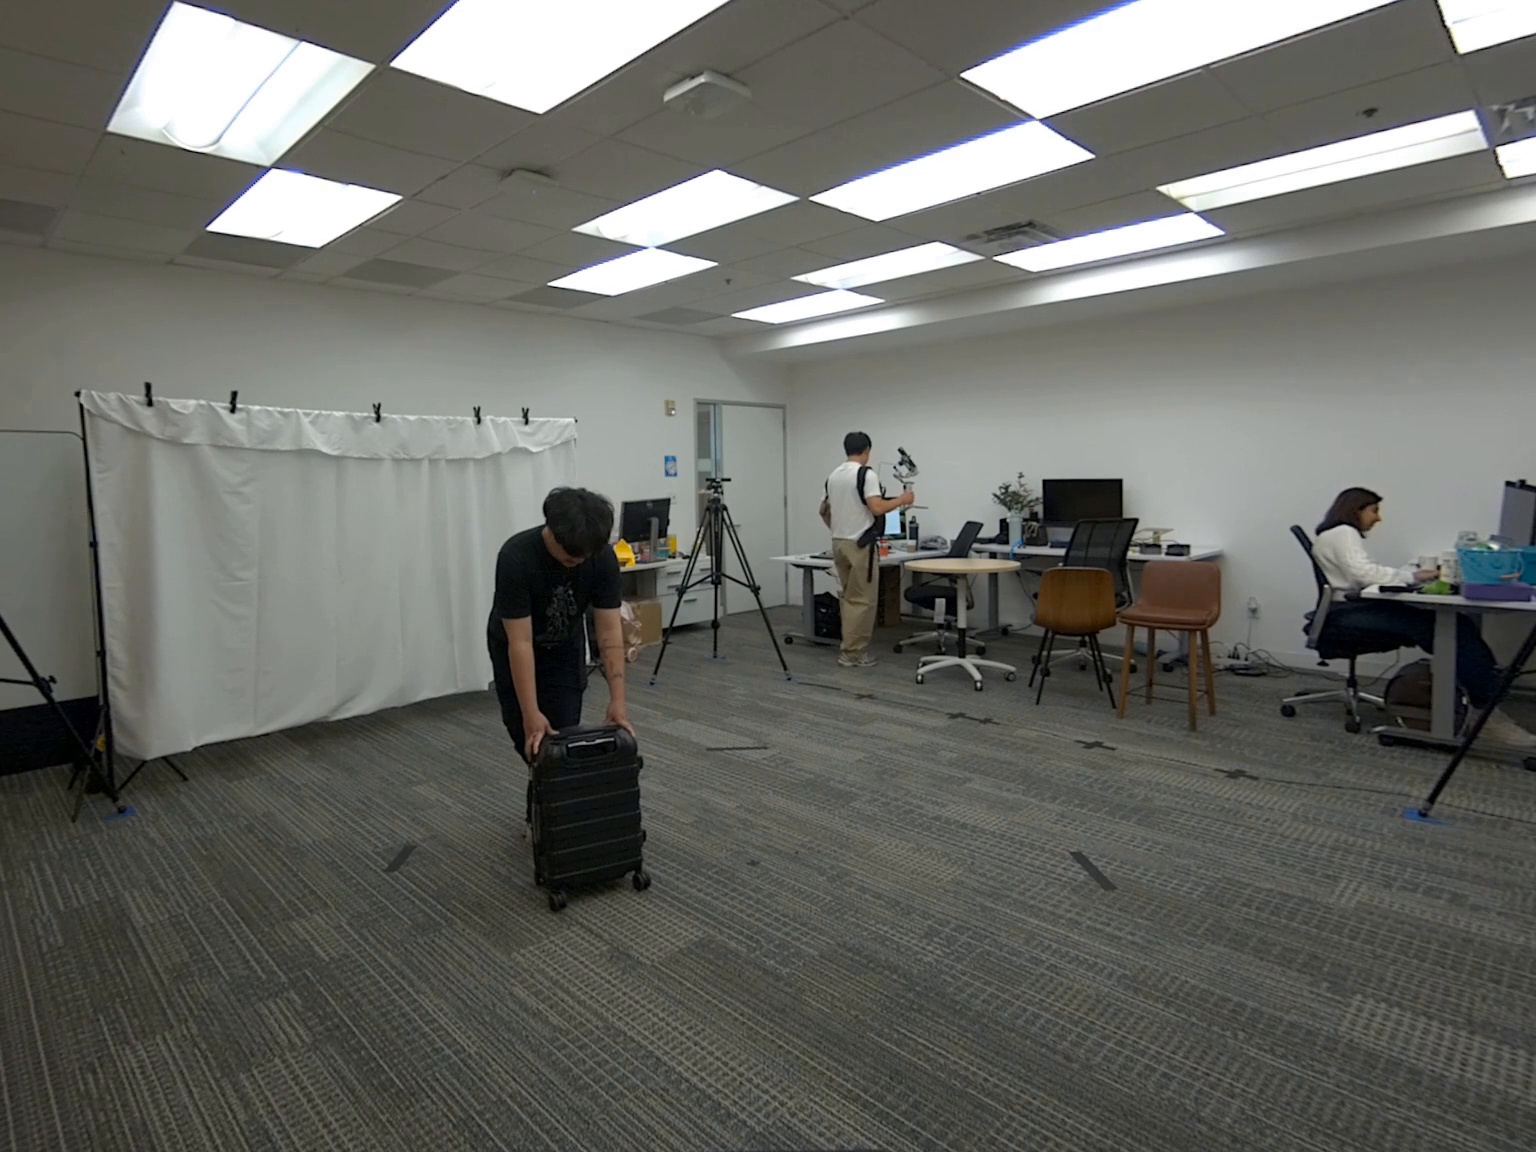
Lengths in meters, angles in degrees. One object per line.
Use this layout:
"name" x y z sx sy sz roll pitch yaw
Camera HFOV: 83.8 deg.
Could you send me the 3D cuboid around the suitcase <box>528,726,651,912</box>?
"suitcase" -0.630 0.796 2.954 0.367 0.548 0.254 -4 2 -26
